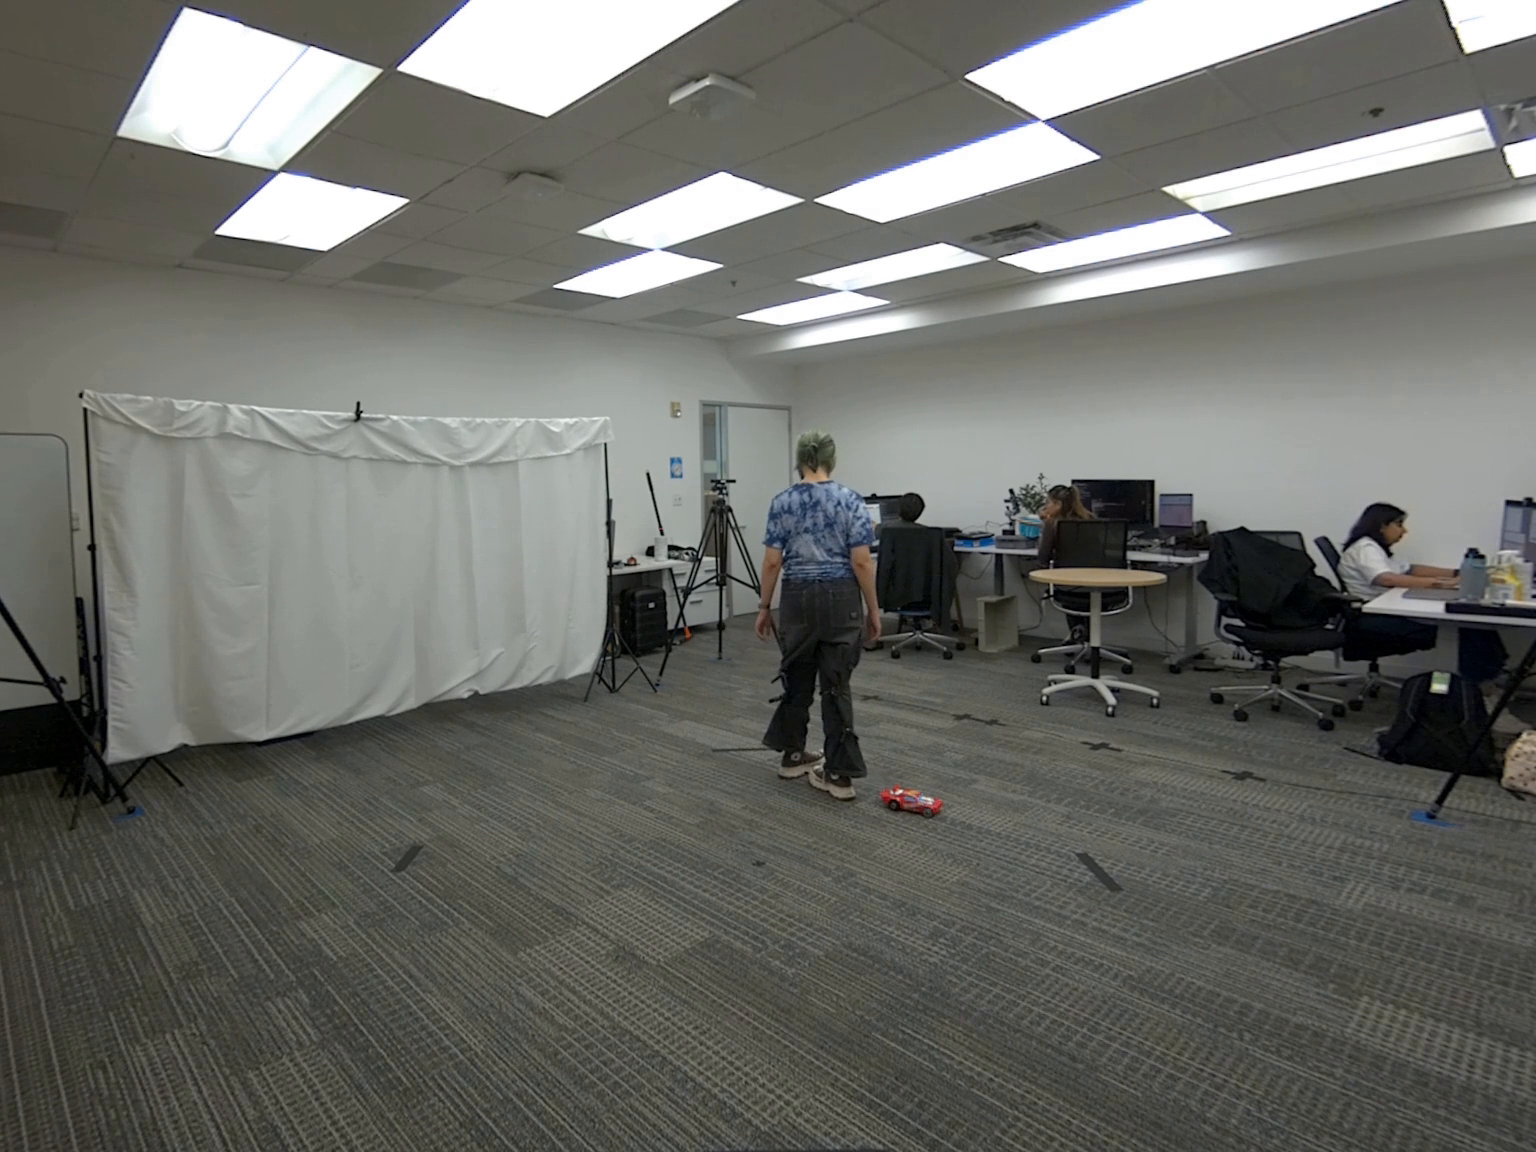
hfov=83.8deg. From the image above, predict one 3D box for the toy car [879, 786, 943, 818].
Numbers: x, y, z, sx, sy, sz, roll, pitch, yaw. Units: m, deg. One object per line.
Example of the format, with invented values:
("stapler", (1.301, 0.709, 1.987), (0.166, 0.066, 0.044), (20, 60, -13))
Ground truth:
("toy car", (0.601, 0.951, 3.601), (0.262, 0.082, 0.127), (15, 13, 30))
